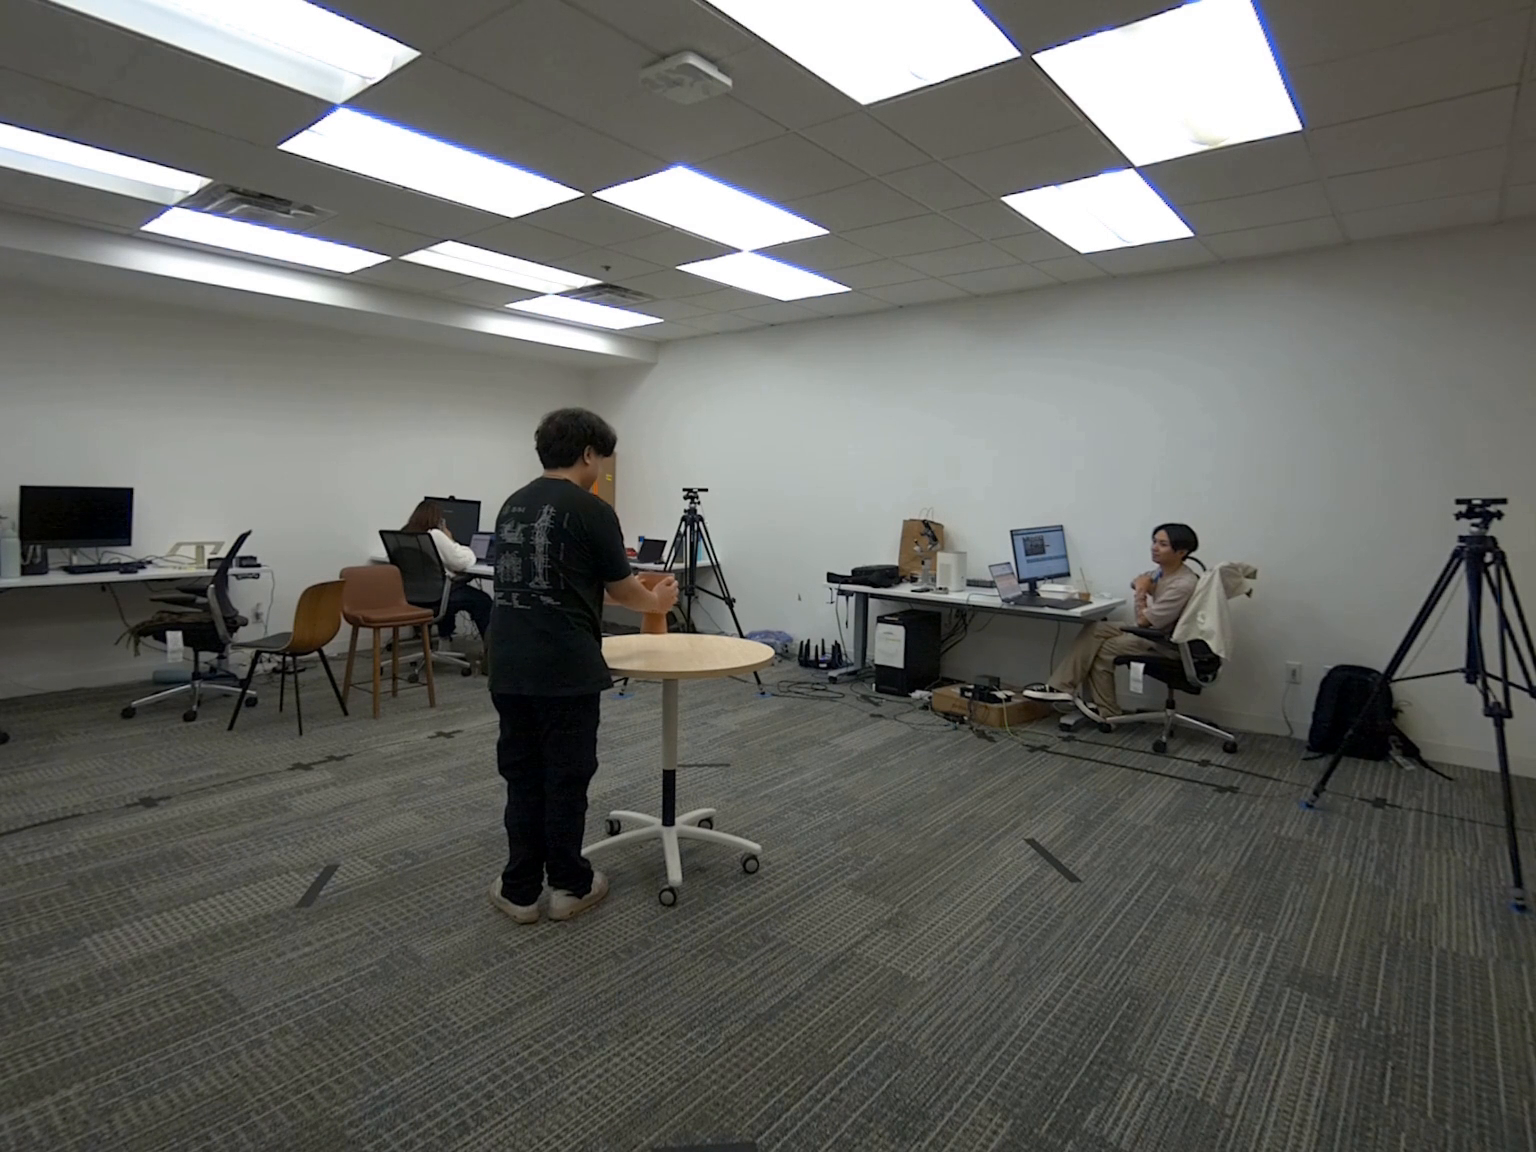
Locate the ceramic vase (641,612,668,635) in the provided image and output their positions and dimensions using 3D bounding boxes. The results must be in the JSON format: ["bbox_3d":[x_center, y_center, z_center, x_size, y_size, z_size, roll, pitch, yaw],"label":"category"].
[{"bbox_3d":[-0.425,0.097,3.101,0.156,0.220,0.137,2,1,-15],"label":"ceramic vase"}]
